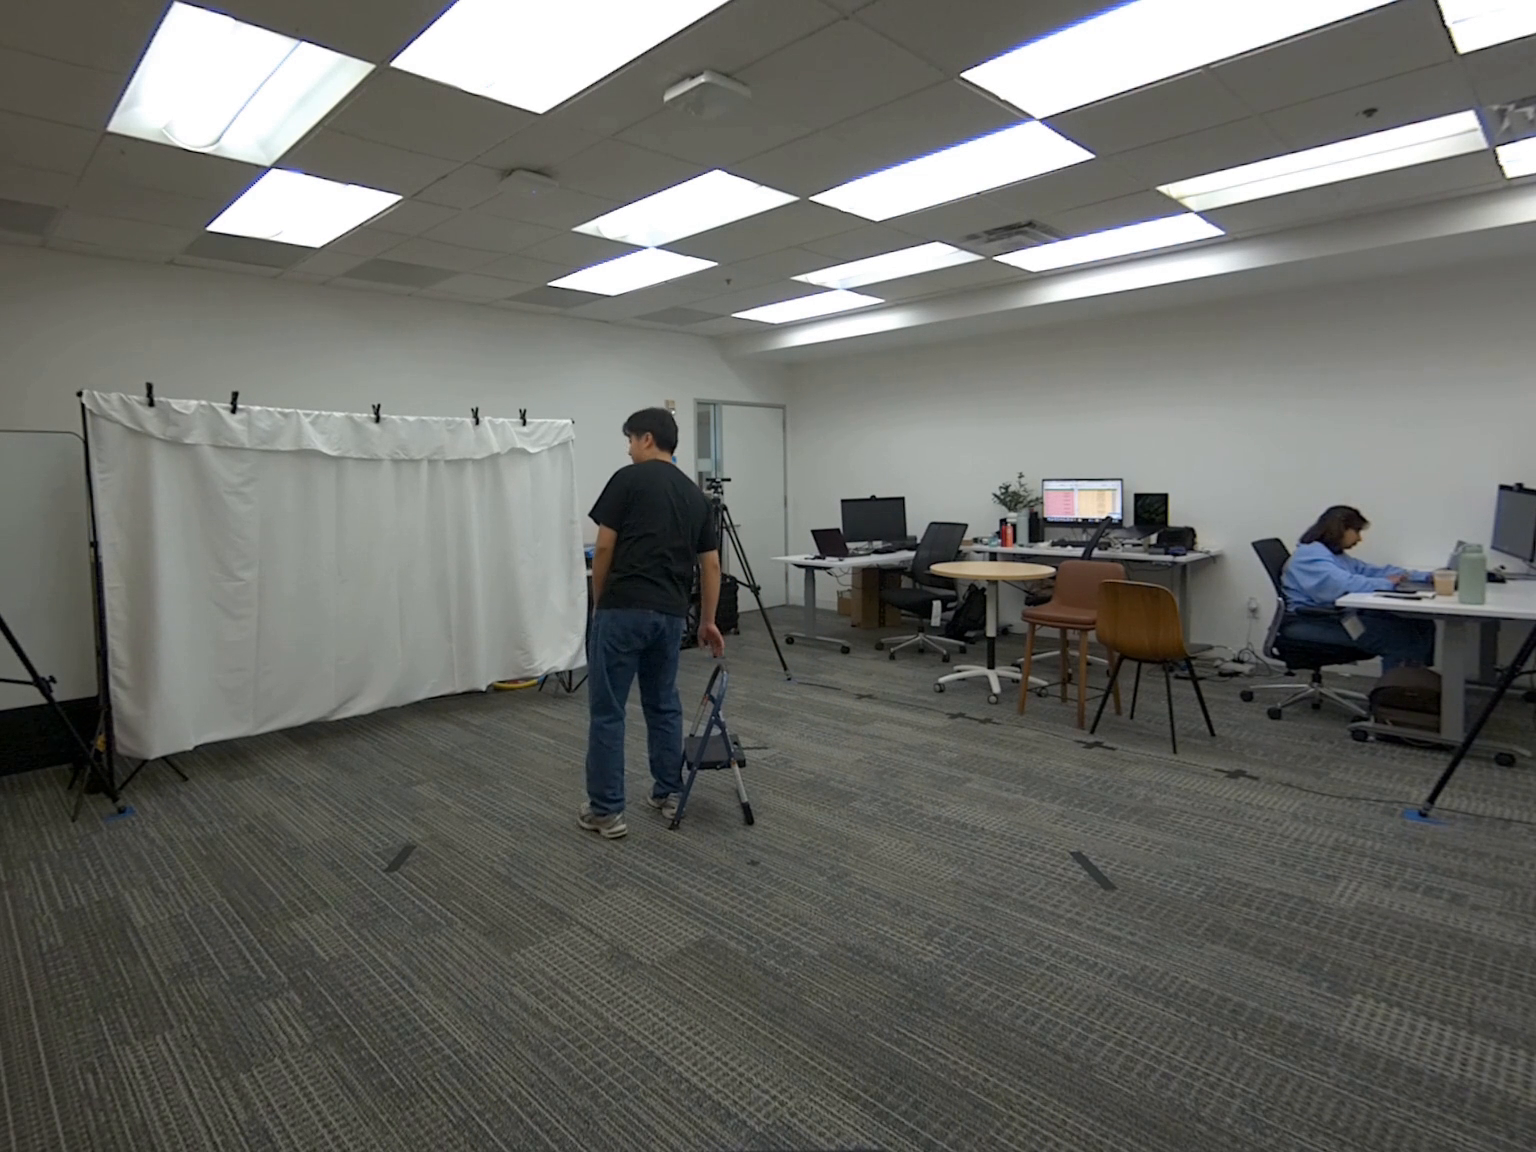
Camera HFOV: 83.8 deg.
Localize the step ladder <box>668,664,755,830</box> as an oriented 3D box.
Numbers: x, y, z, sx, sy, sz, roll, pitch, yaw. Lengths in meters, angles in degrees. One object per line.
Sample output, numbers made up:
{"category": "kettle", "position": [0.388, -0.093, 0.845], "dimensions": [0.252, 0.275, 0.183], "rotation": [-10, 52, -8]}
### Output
{"category": "step ladder", "position": [-0.252, 0.693, 3.621], "dimensions": [0.347, 0.604, 0.436], "rotation": [-2, 5, -9]}
